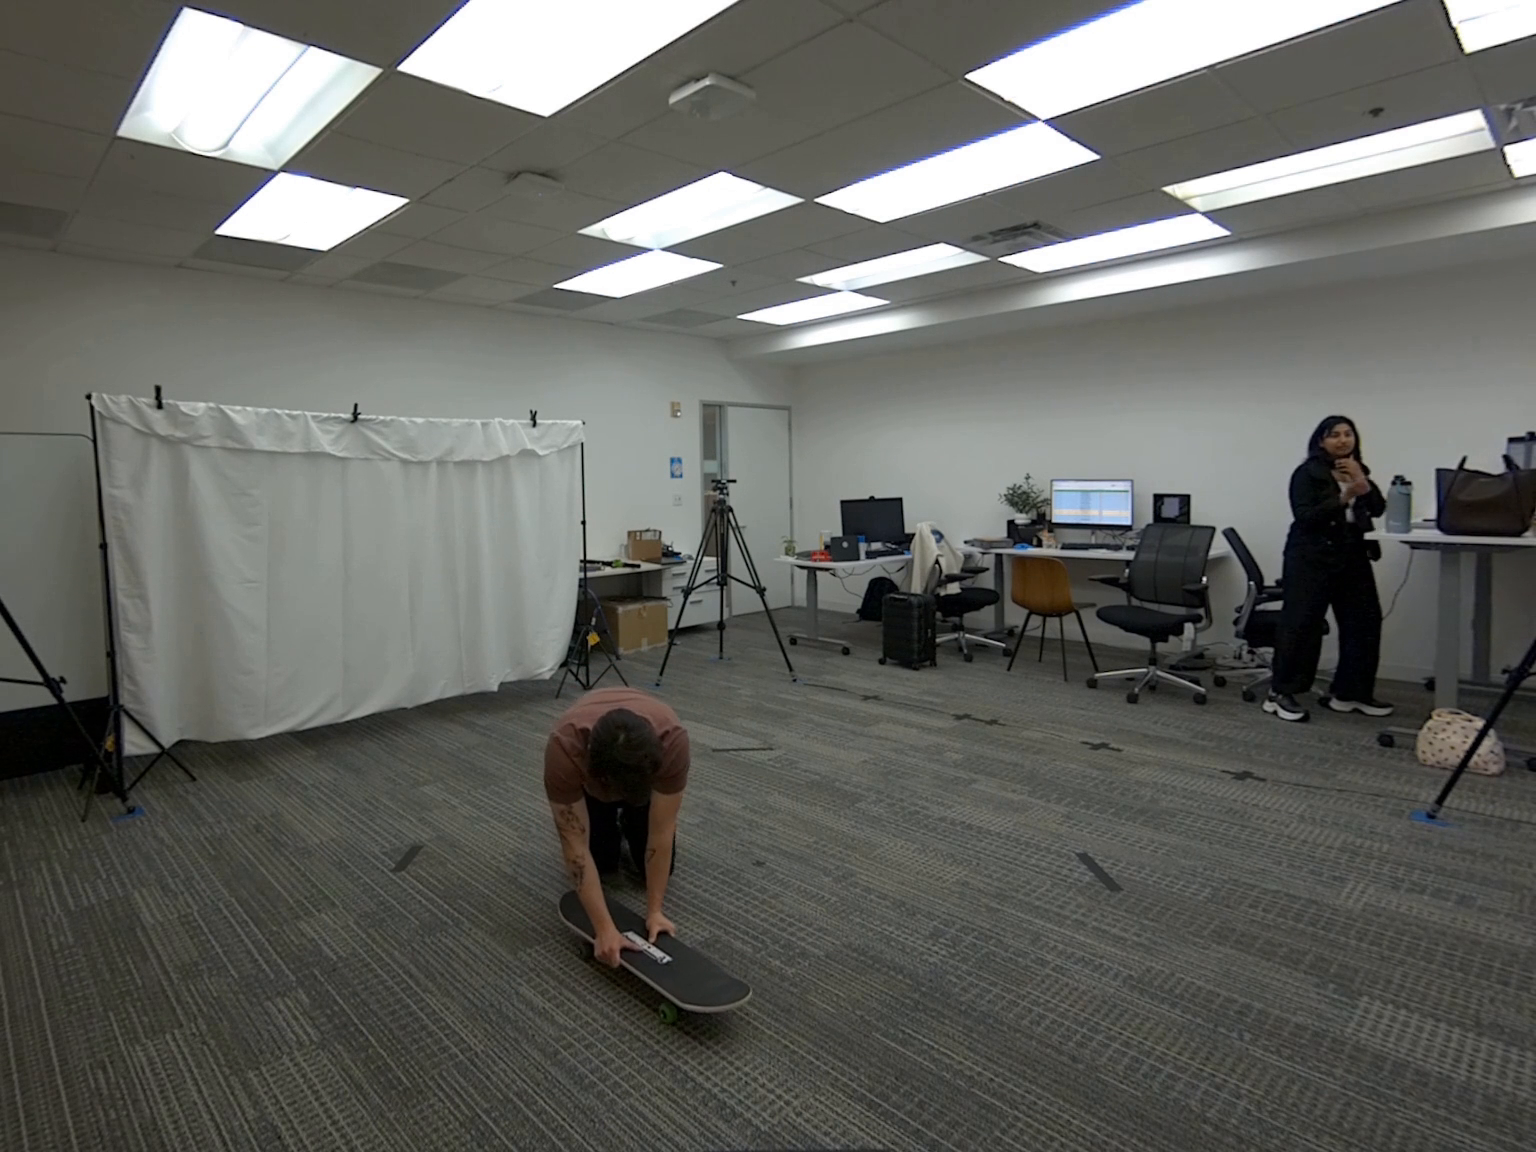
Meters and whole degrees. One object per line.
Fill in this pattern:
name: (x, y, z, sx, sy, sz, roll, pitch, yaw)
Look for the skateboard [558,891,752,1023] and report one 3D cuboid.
skateboard: (-0.347, 1.084, 2.416, 0.188, 0.110, 0.809, -2, 5, -43)
